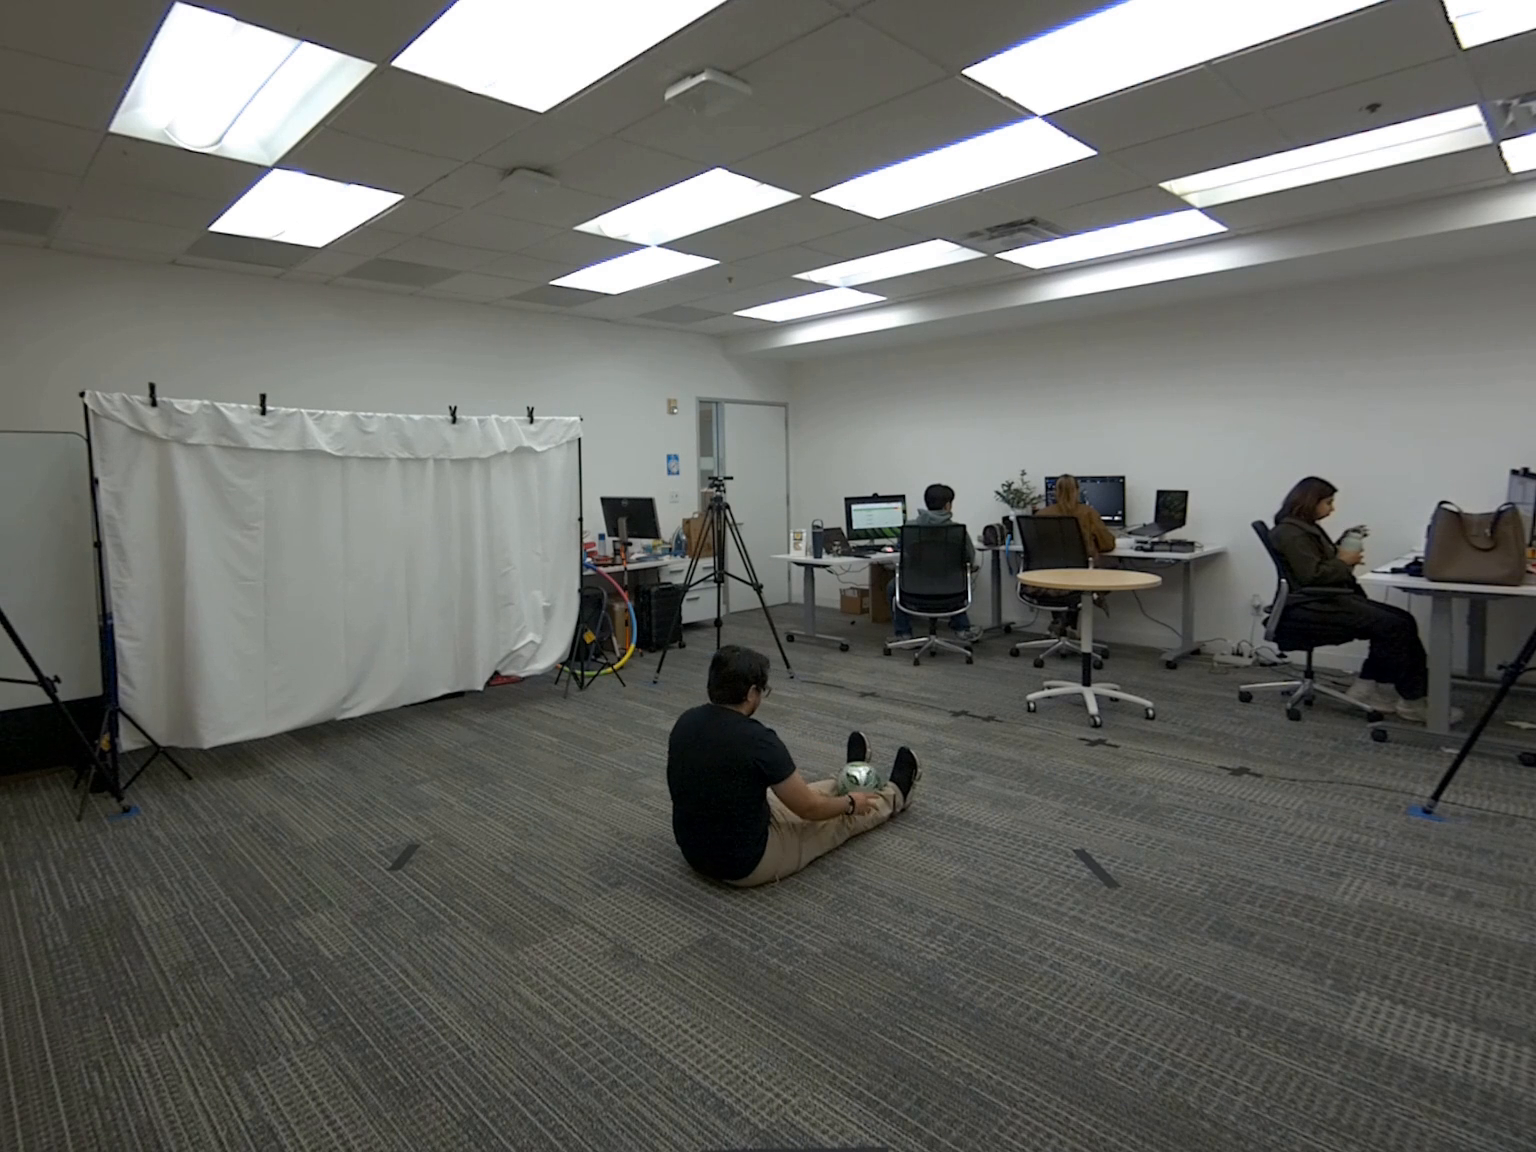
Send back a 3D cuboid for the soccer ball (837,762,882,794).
[{"bbox_3d":[0.383,0.857,3.525,0.187,0.187,0.188,-1,4,-2],"label":"soccer ball"}]
